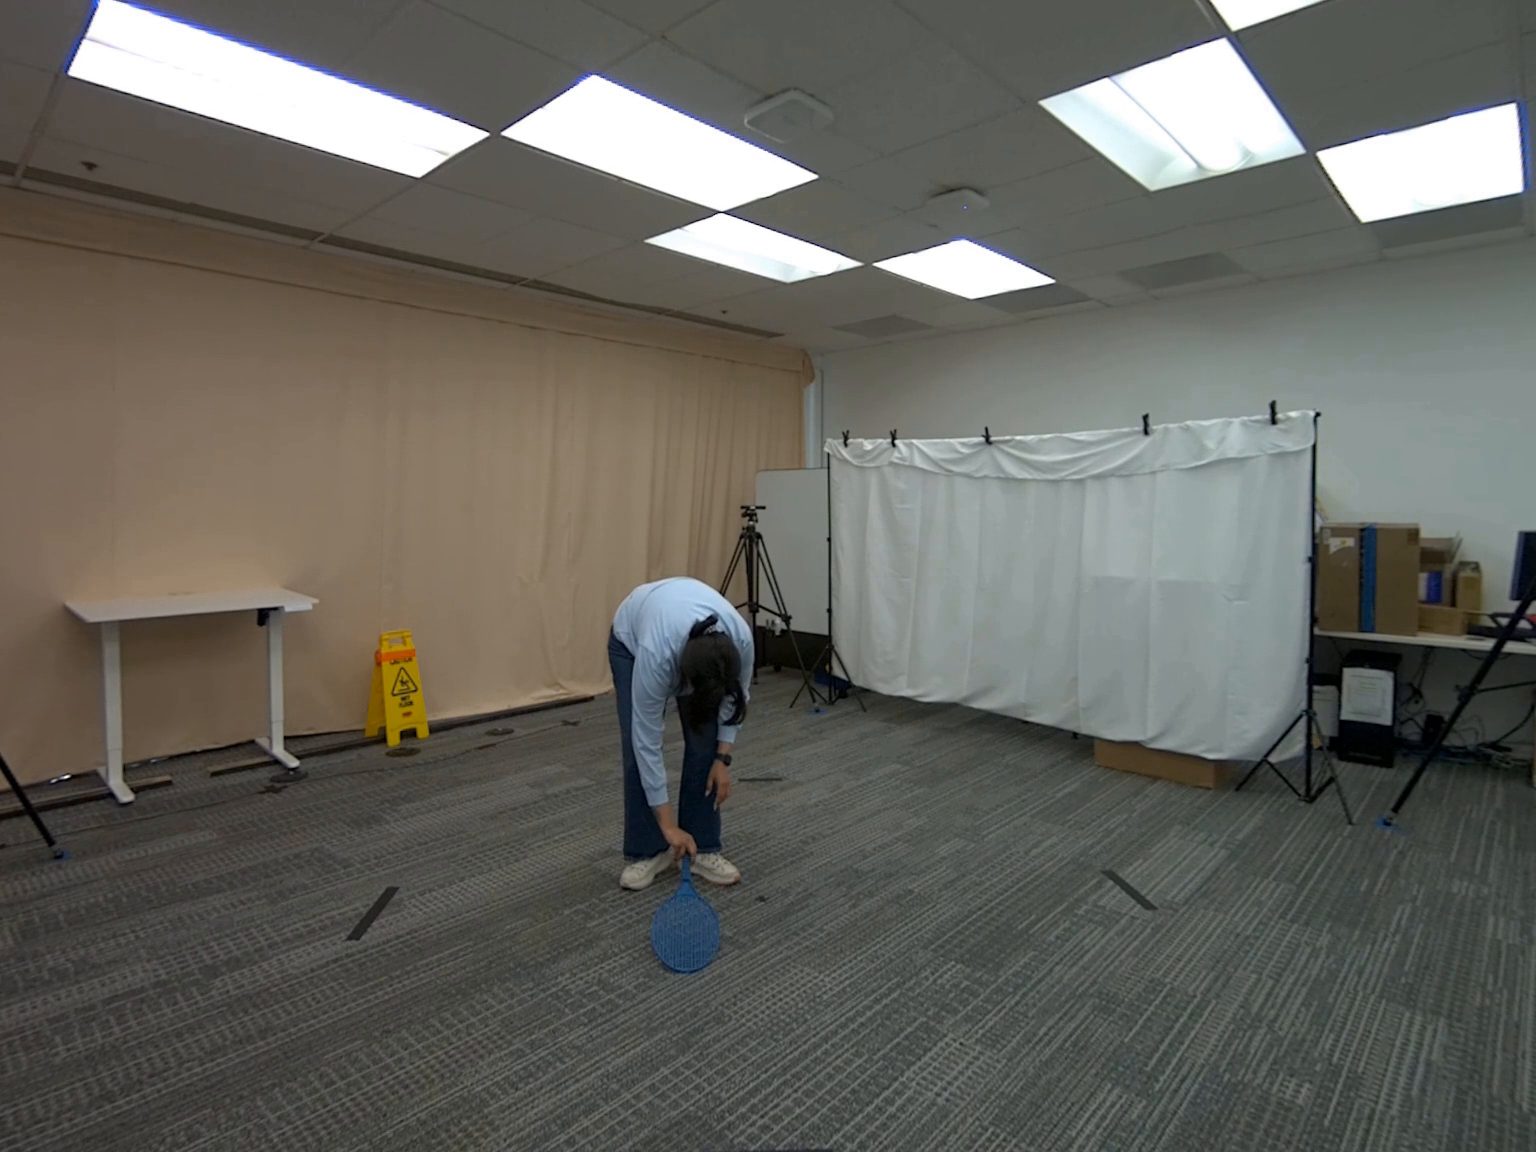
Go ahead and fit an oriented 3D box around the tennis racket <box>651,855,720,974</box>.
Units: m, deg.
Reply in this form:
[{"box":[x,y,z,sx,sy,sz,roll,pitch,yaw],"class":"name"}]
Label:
[{"box":[-0.245,1.058,2.692,0.213,0.031,0.440,3,32,-3],"class":"tennis racket"}]
